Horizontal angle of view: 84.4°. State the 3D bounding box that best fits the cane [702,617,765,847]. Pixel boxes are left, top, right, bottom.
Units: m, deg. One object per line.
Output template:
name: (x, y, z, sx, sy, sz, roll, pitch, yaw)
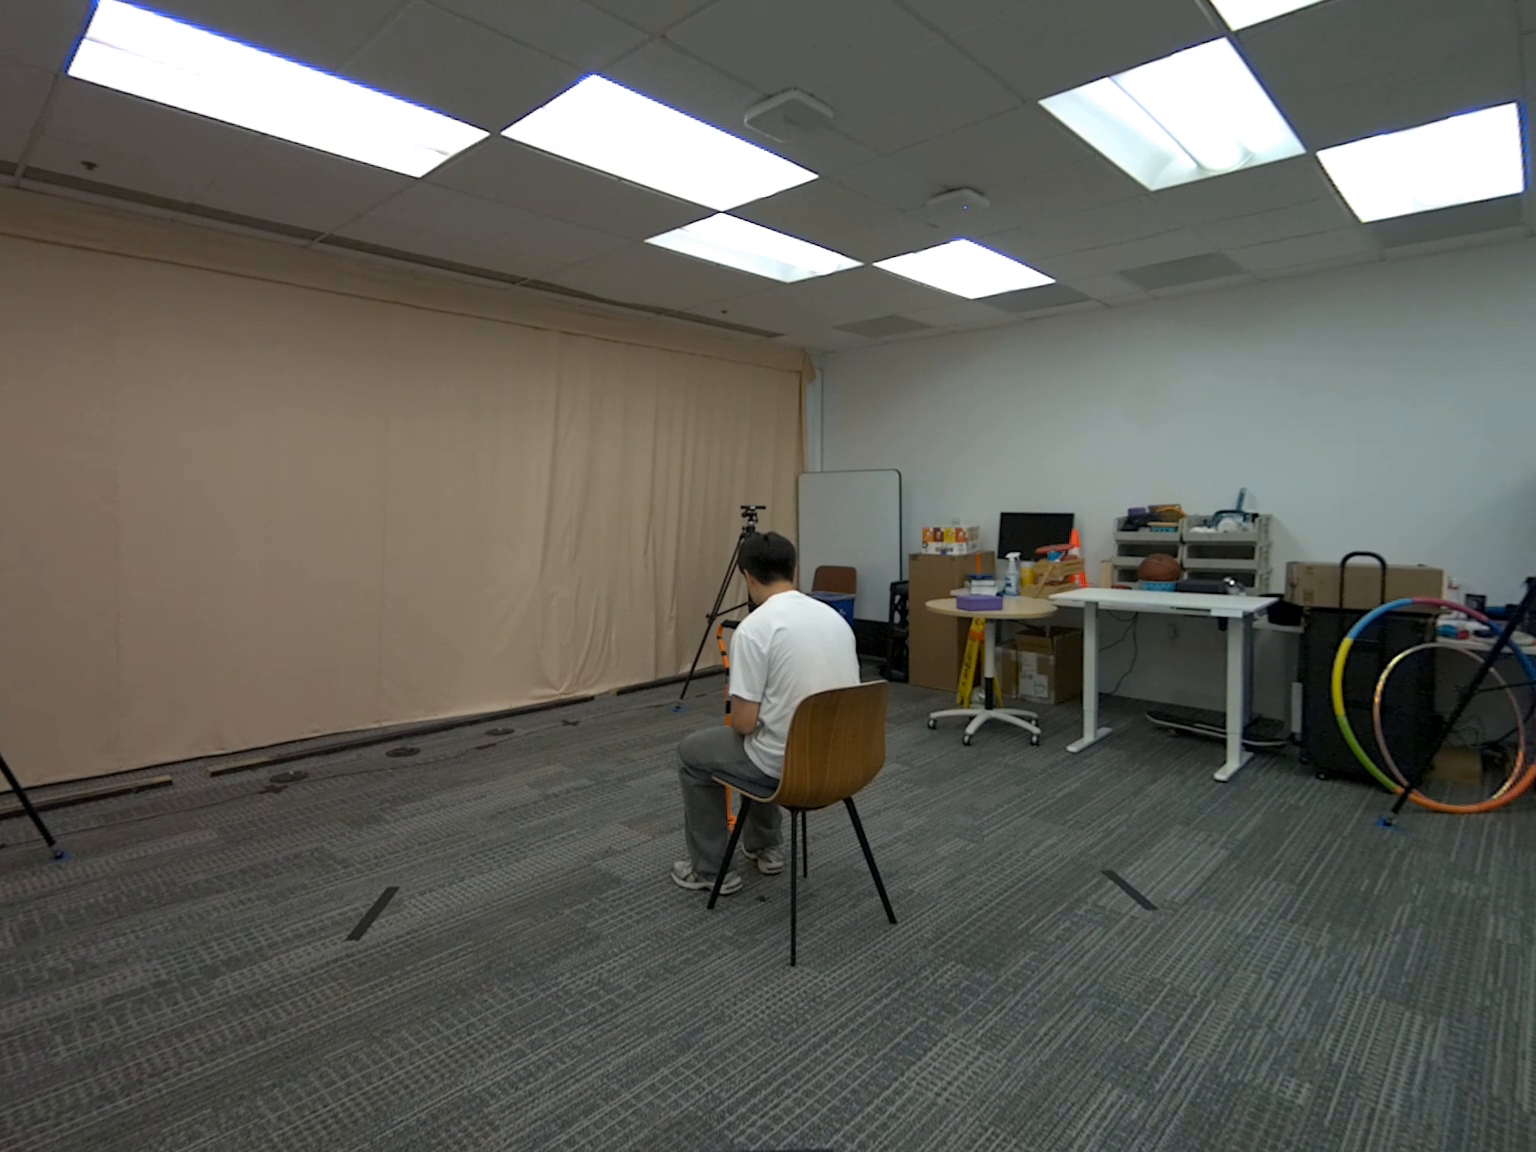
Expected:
cane: (-0.148, 0.641, 3.571, 0.147, 0.907, 0.213, -2, 3, -41)
